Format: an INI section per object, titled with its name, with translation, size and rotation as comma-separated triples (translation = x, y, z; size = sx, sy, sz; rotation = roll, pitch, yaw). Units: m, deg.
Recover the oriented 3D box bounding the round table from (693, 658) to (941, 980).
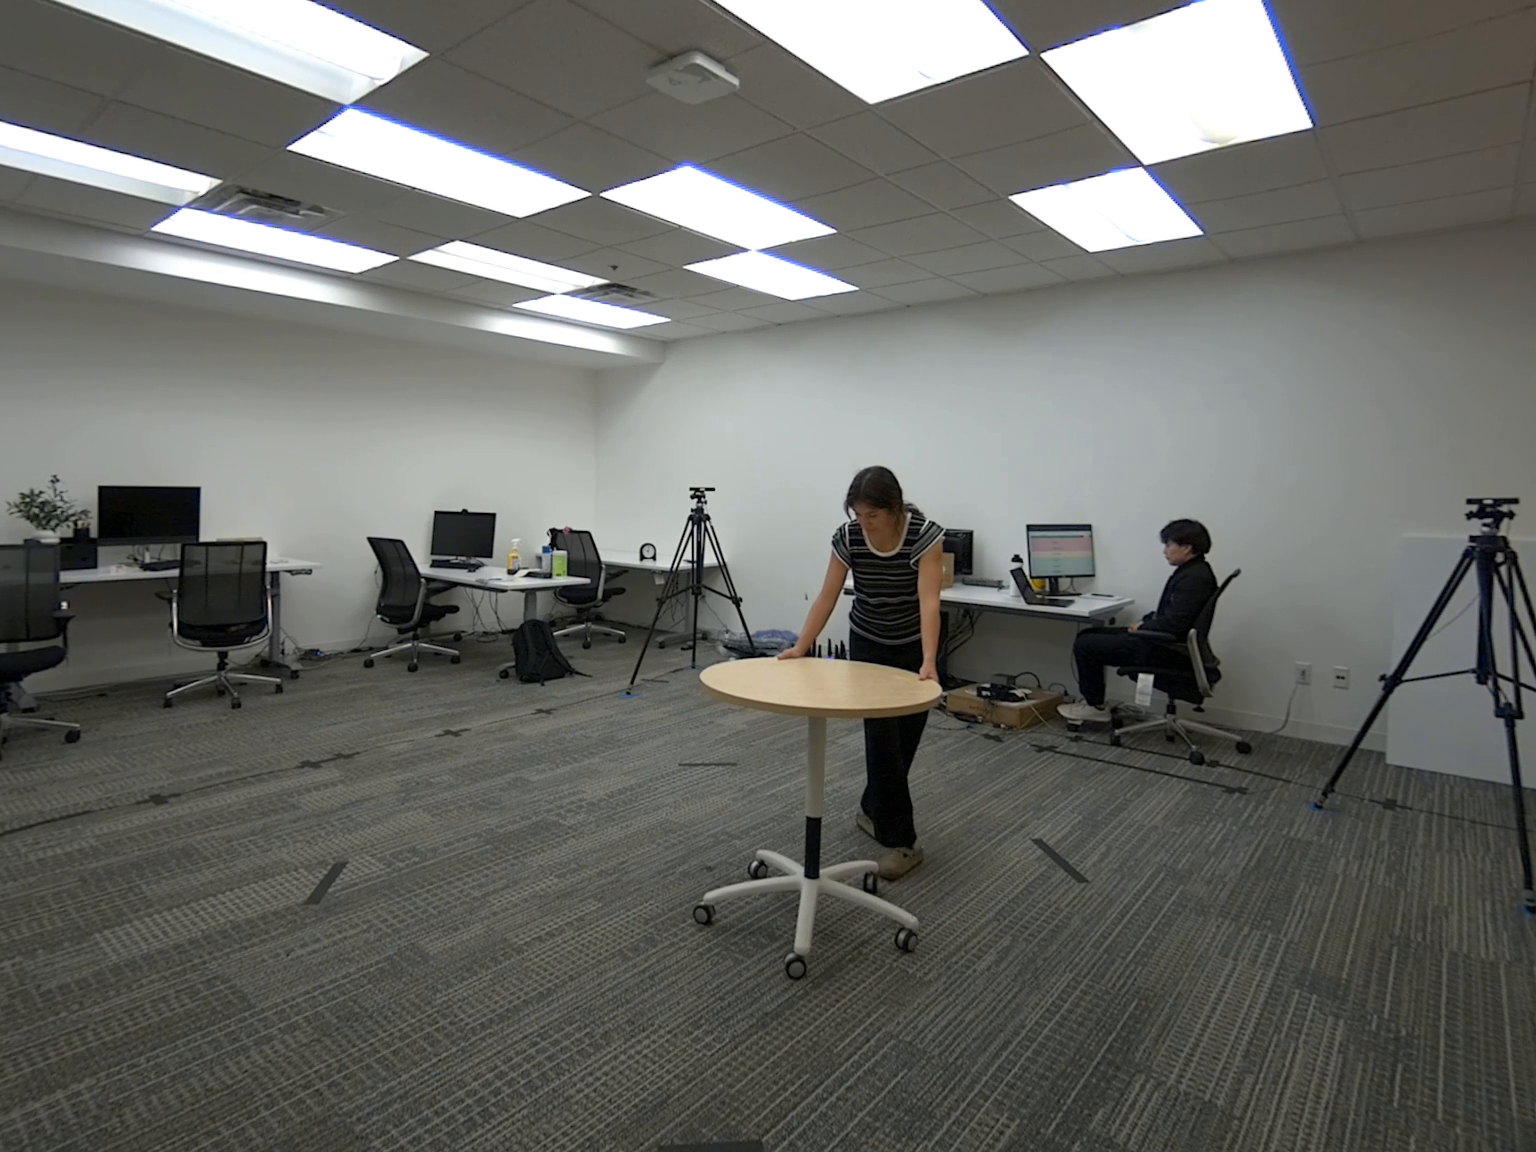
[round table]
translation = 0.133, 0.721, 2.743
size = 0.763, 0.792, 0.767
rotation = 2, 4, -2
